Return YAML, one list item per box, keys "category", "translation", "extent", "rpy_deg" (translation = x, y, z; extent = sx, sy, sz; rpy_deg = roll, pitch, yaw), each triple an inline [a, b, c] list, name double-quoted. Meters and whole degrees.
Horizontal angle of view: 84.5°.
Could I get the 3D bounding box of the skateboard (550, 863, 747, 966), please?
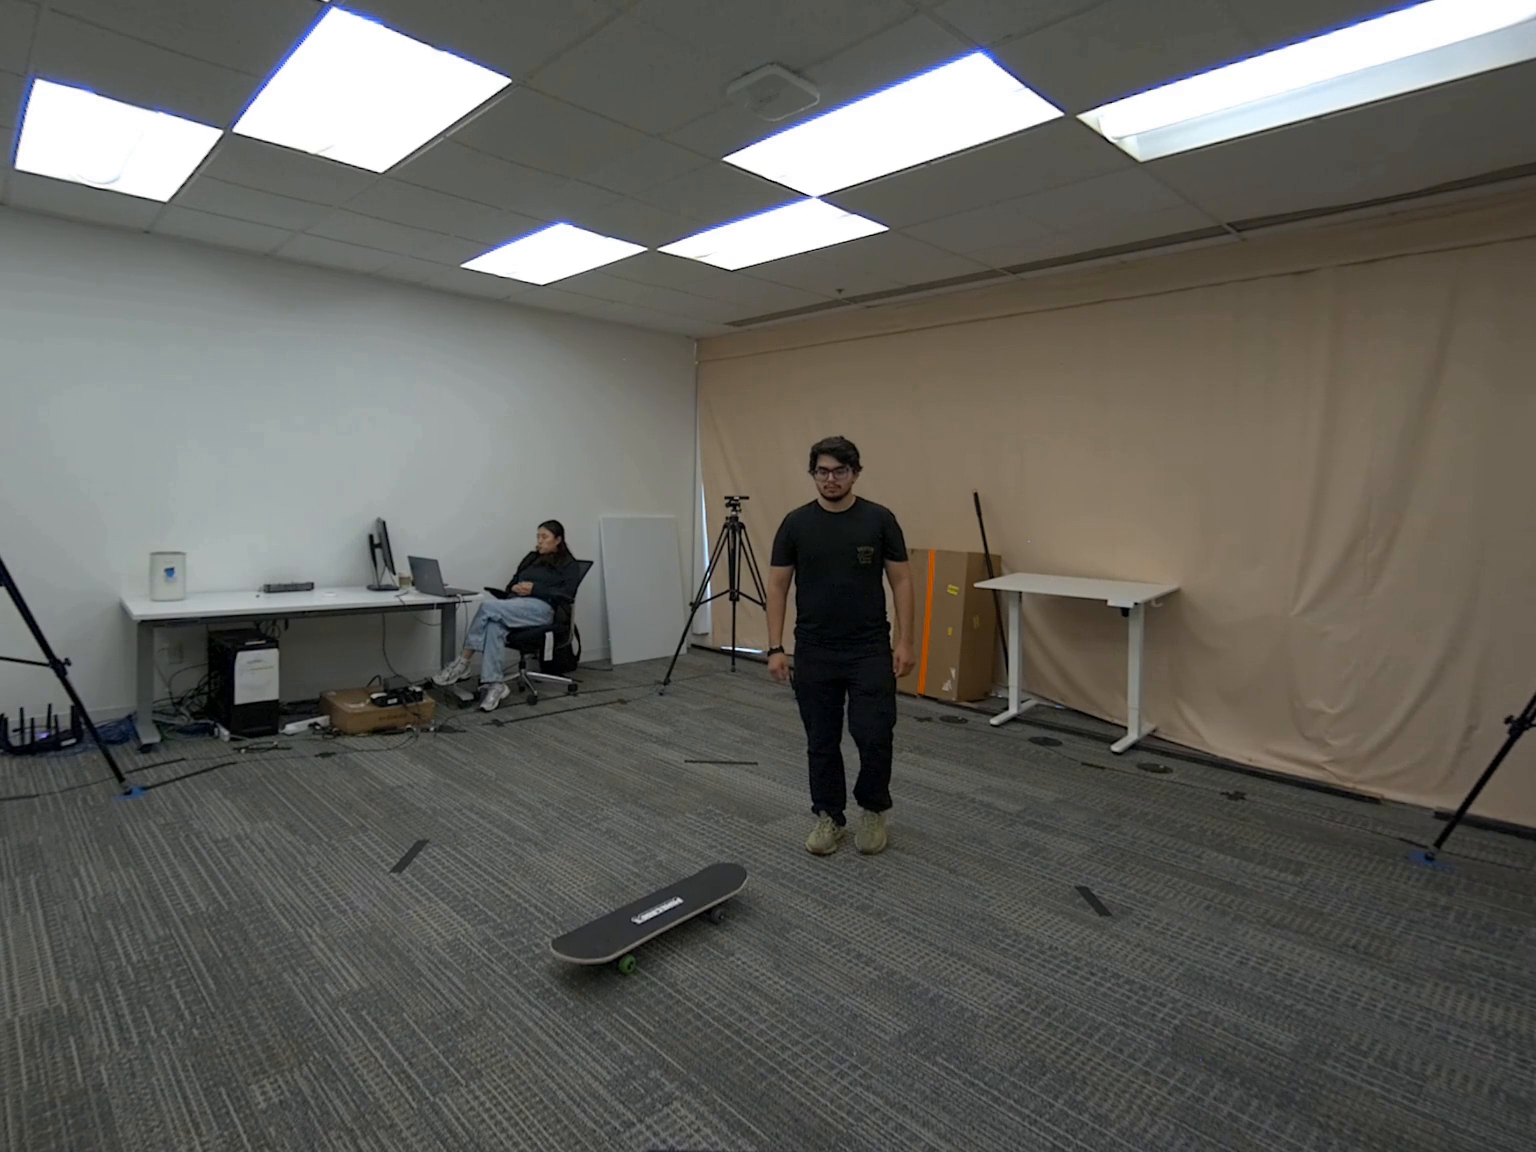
- category: "skateboard"
  translation: [-0.350, 1.082, 2.649]
  extent: [0.198, 0.110, 0.768]
  rpy_deg: [4, 6, 38]
